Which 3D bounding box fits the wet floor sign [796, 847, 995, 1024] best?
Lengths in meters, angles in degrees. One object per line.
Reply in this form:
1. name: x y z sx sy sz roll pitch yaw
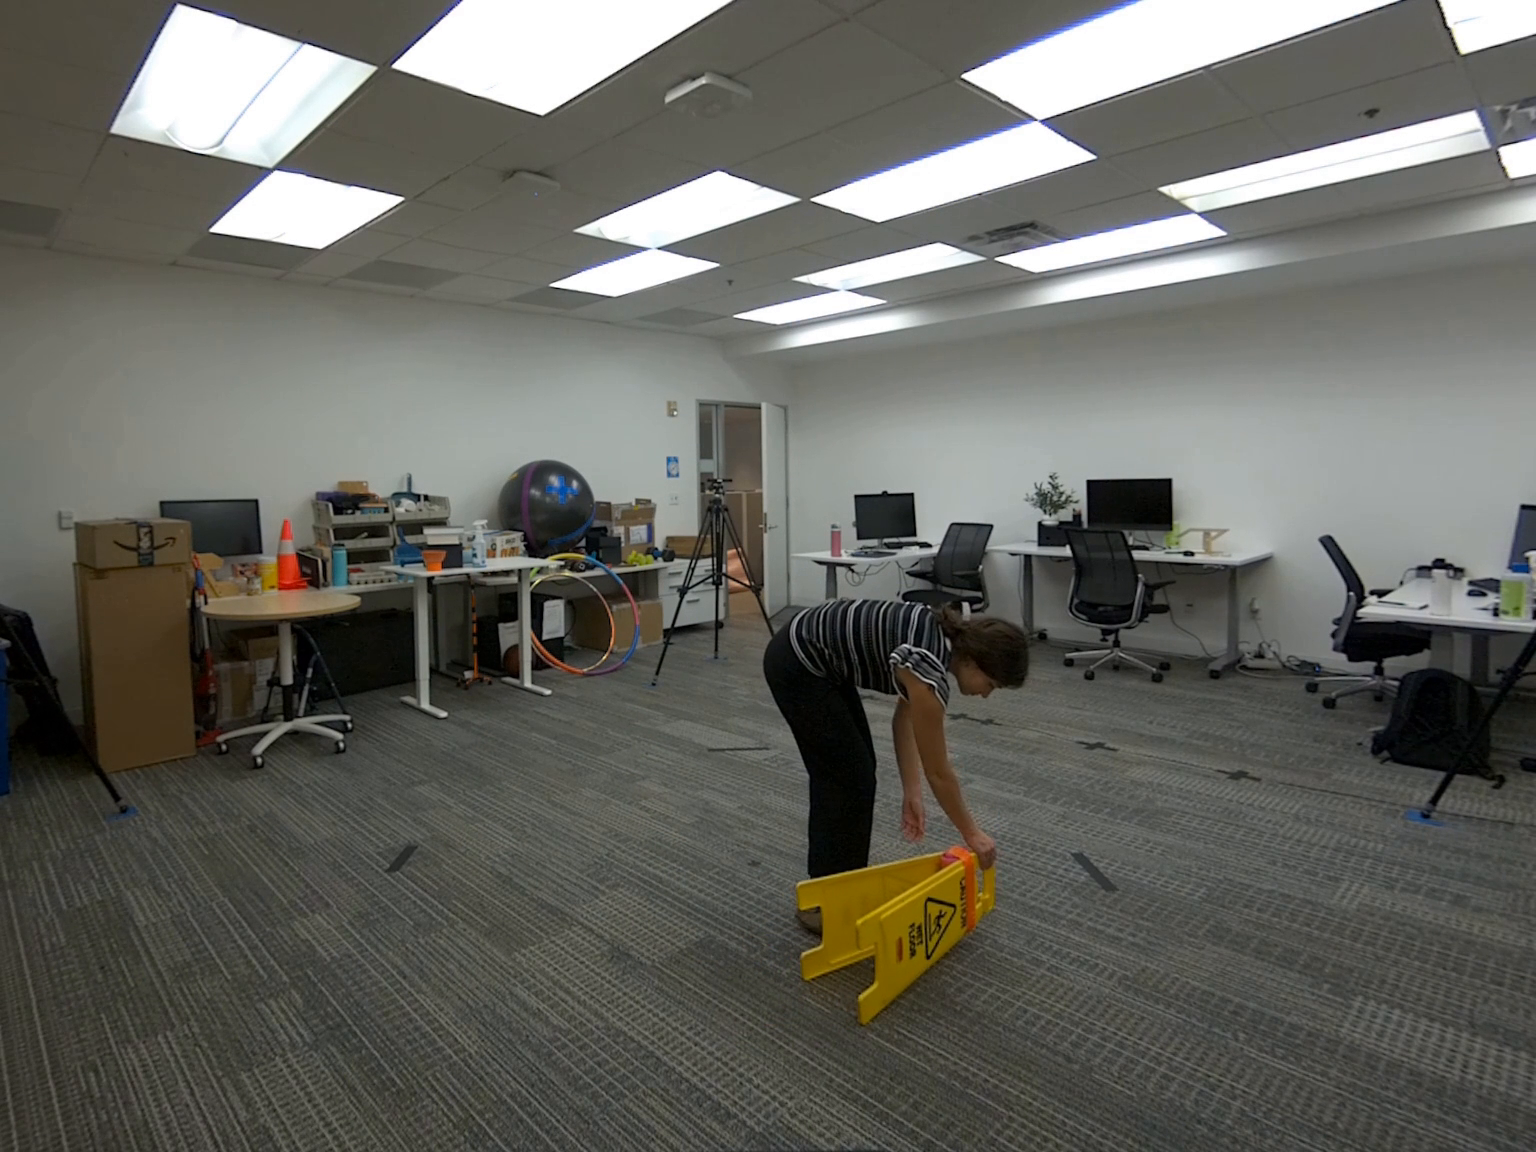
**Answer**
1. wet floor sign: 0.419 0.959 2.438 0.631 0.280 0.298 -9 9 -33
